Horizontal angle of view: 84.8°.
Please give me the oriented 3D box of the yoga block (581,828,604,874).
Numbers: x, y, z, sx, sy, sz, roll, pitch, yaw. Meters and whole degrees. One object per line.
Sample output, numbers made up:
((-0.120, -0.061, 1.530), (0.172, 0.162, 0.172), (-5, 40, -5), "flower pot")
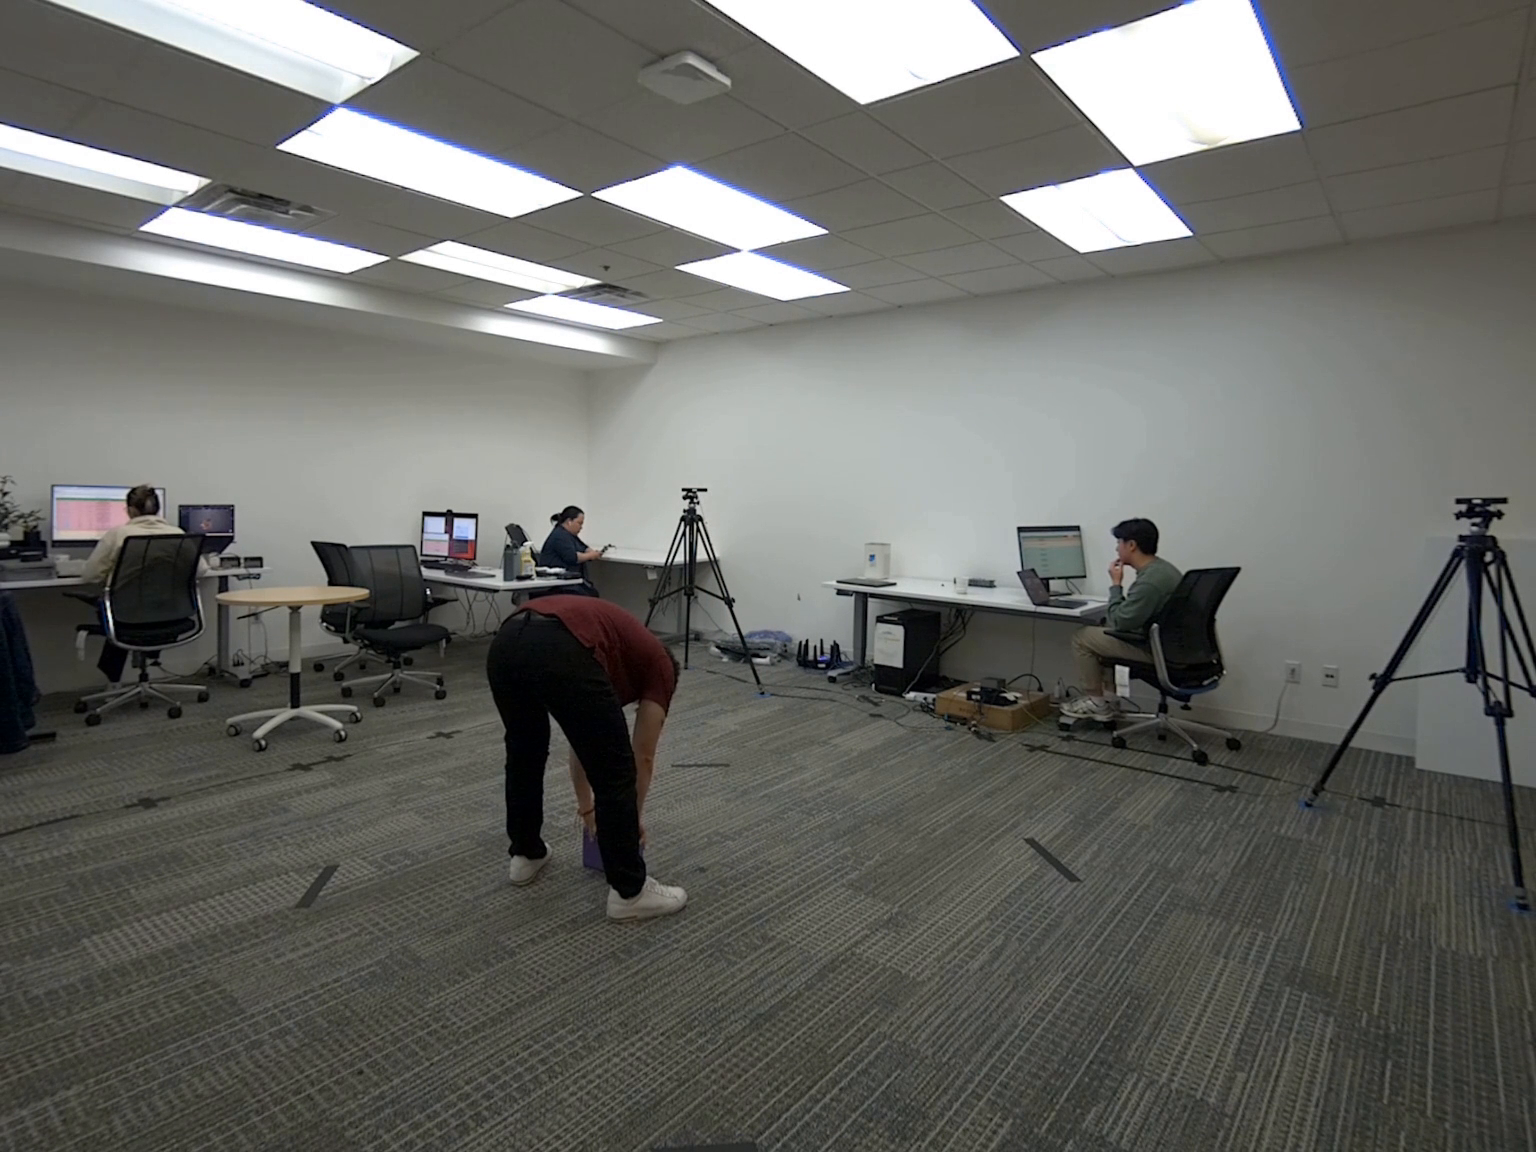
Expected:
((-0.581, 0.996, 3.076), (0.236, 0.148, 0.075), (3, 8, 29), "yoga block")
